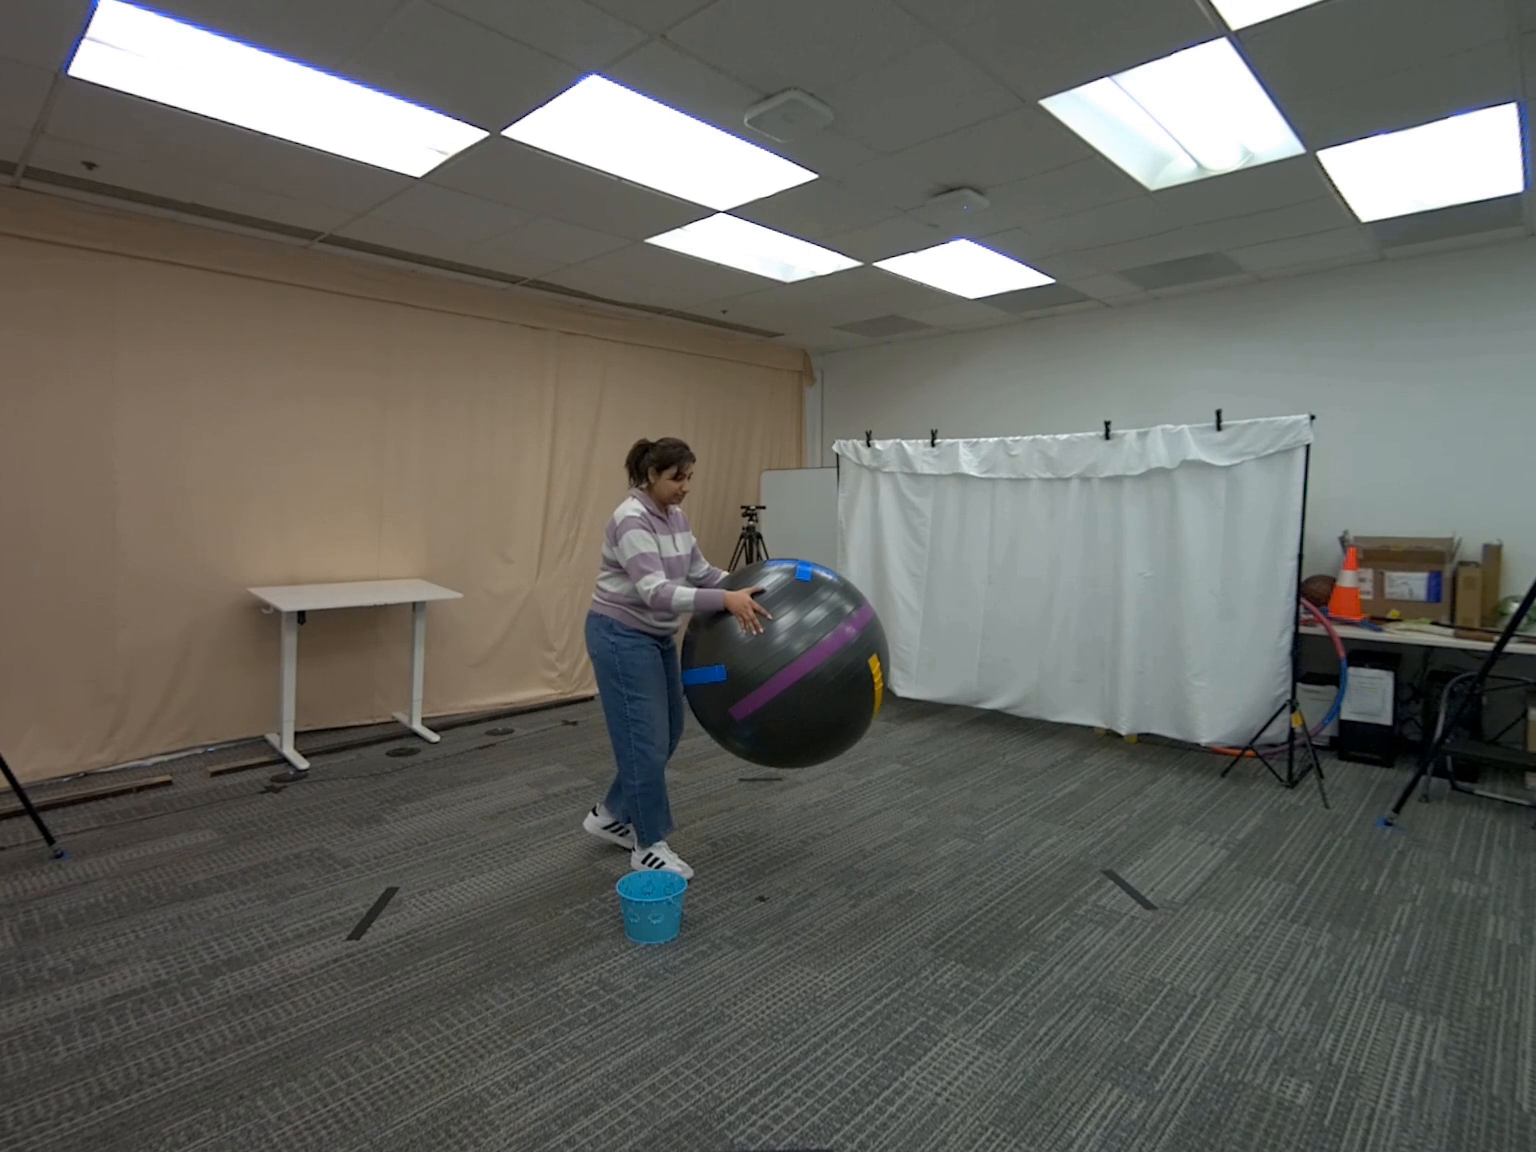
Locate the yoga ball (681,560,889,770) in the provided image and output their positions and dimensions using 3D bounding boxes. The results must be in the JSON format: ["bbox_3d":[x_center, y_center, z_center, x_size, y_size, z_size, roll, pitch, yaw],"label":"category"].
[{"bbox_3d":[0.062,0.328,3.081,0.757,0.756,0.760,0,4,-2],"label":"yoga ball"}]
